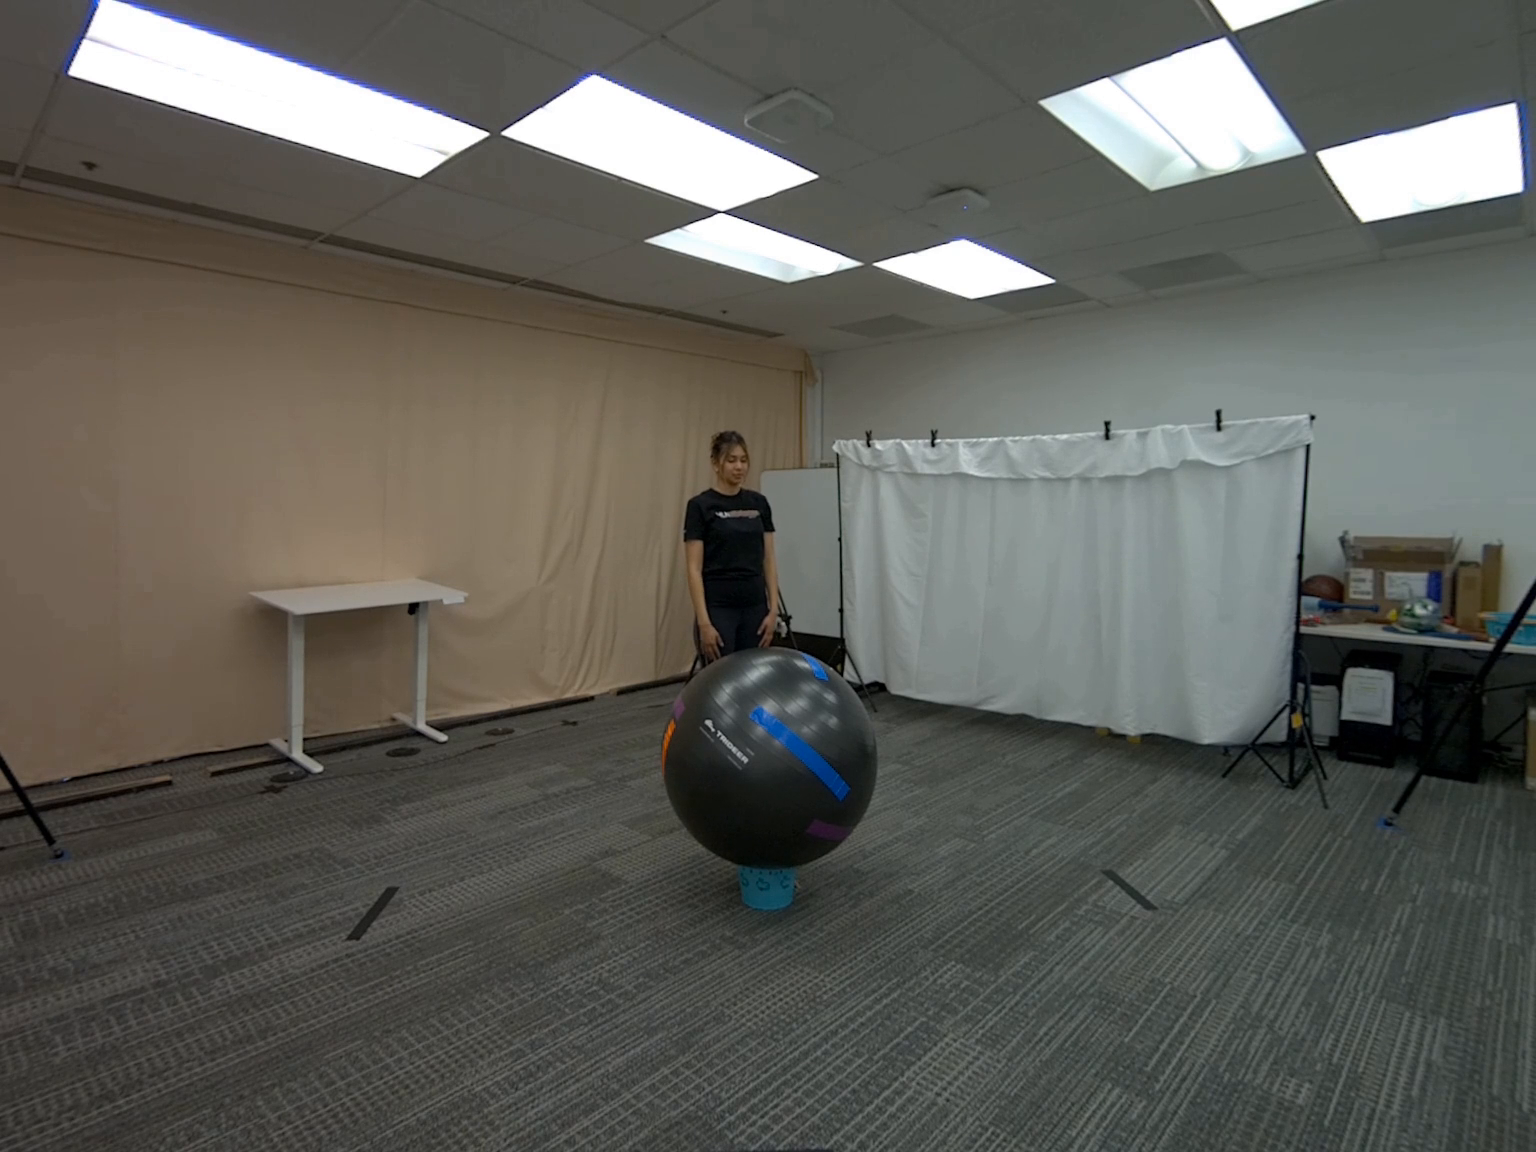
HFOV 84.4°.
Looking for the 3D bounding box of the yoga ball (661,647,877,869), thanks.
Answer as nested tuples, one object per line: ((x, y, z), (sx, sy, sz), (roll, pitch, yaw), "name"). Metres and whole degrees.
((0.006, 0.633, 2.966), (0.757, 0.756, 0.760), (0, 4, -2), "yoga ball")
